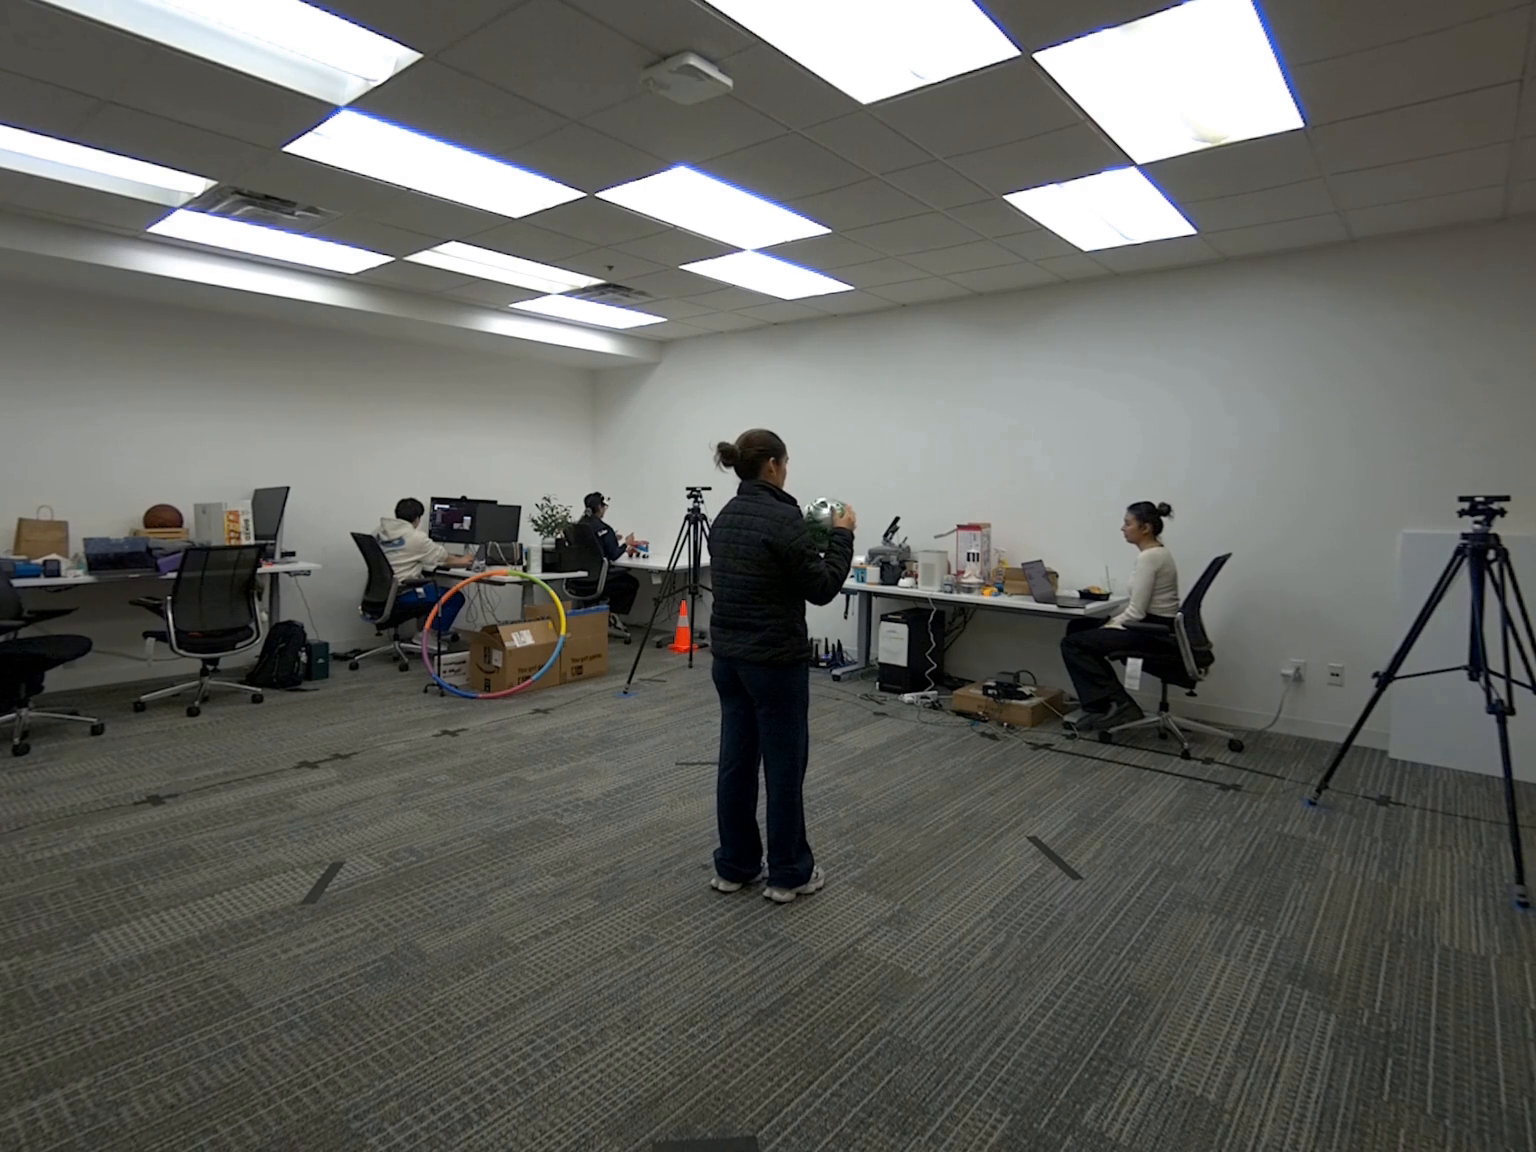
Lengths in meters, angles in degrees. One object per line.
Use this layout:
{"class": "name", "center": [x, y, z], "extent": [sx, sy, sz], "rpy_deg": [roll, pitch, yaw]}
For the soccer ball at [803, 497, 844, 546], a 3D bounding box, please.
{"class": "soccer ball", "center": [0.205, -0.188, 3.038], "extent": [0.187, 0.187, 0.188], "rpy_deg": [1, 4, -2]}
